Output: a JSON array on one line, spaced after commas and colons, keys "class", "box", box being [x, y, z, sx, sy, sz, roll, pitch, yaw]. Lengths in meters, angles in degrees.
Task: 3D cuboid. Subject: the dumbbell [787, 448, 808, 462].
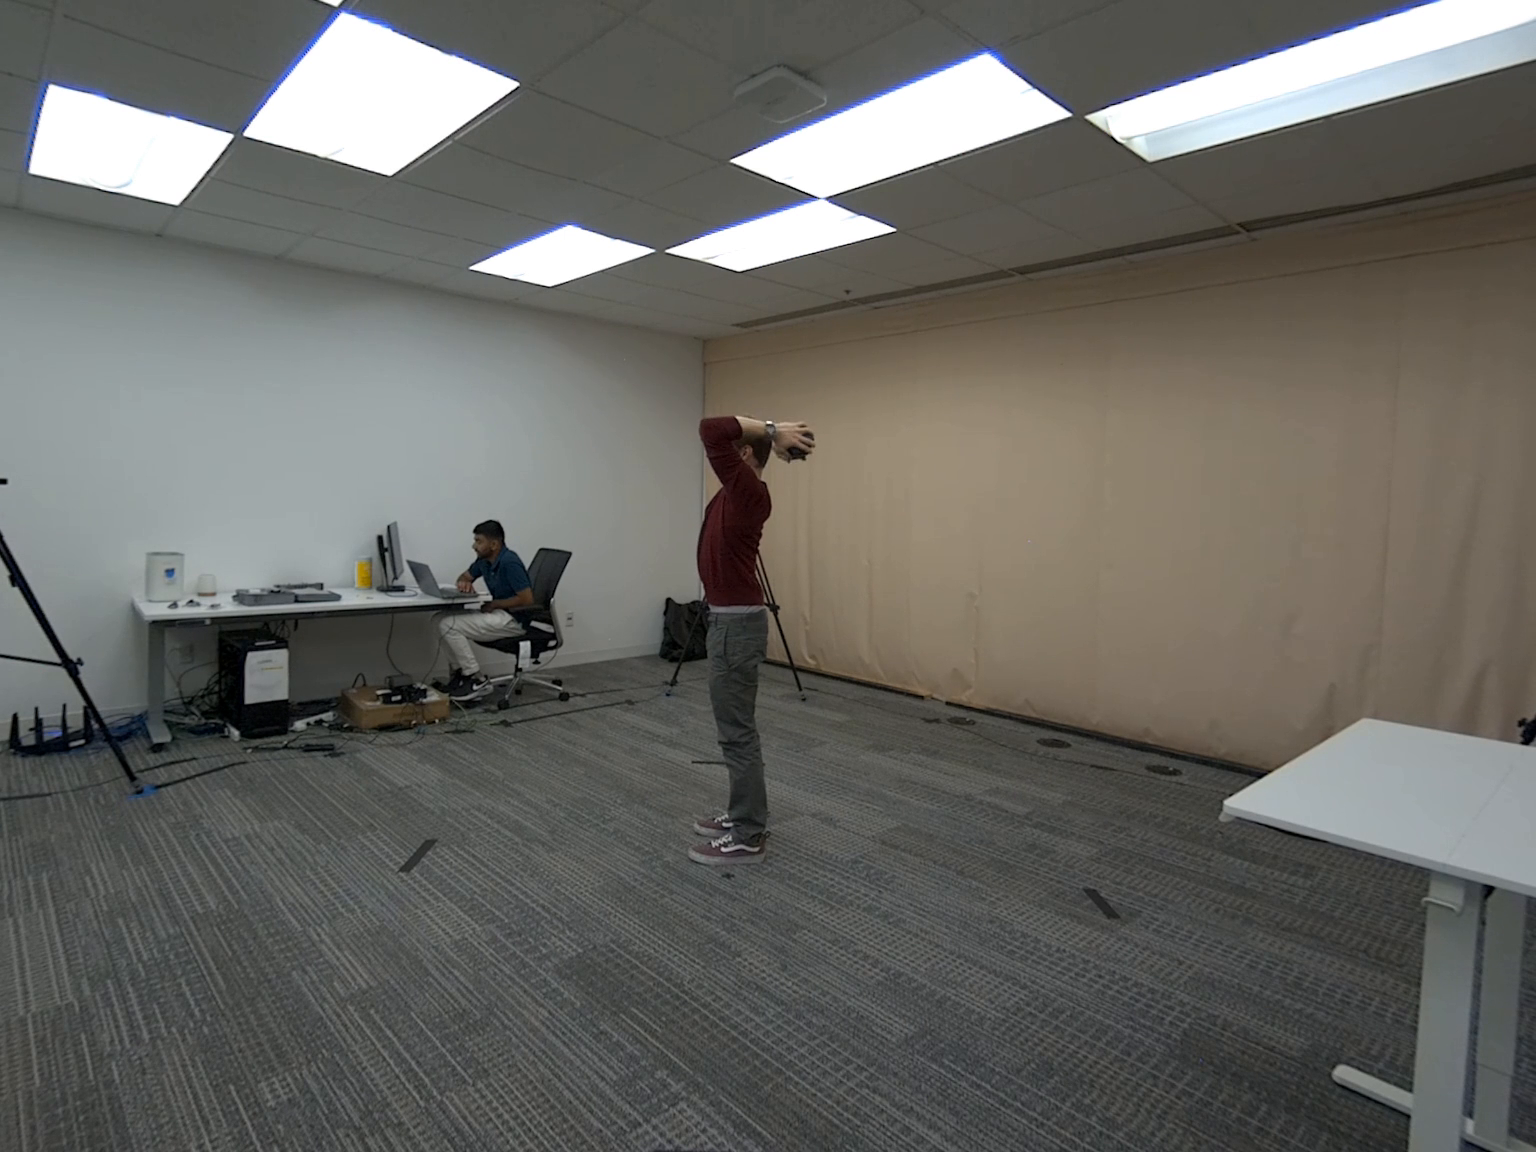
[{"class": "dumbbell", "box": [0.078, -0.533, 3.304, 0.109, 0.123, 0.293, -41, 1, 4]}]
